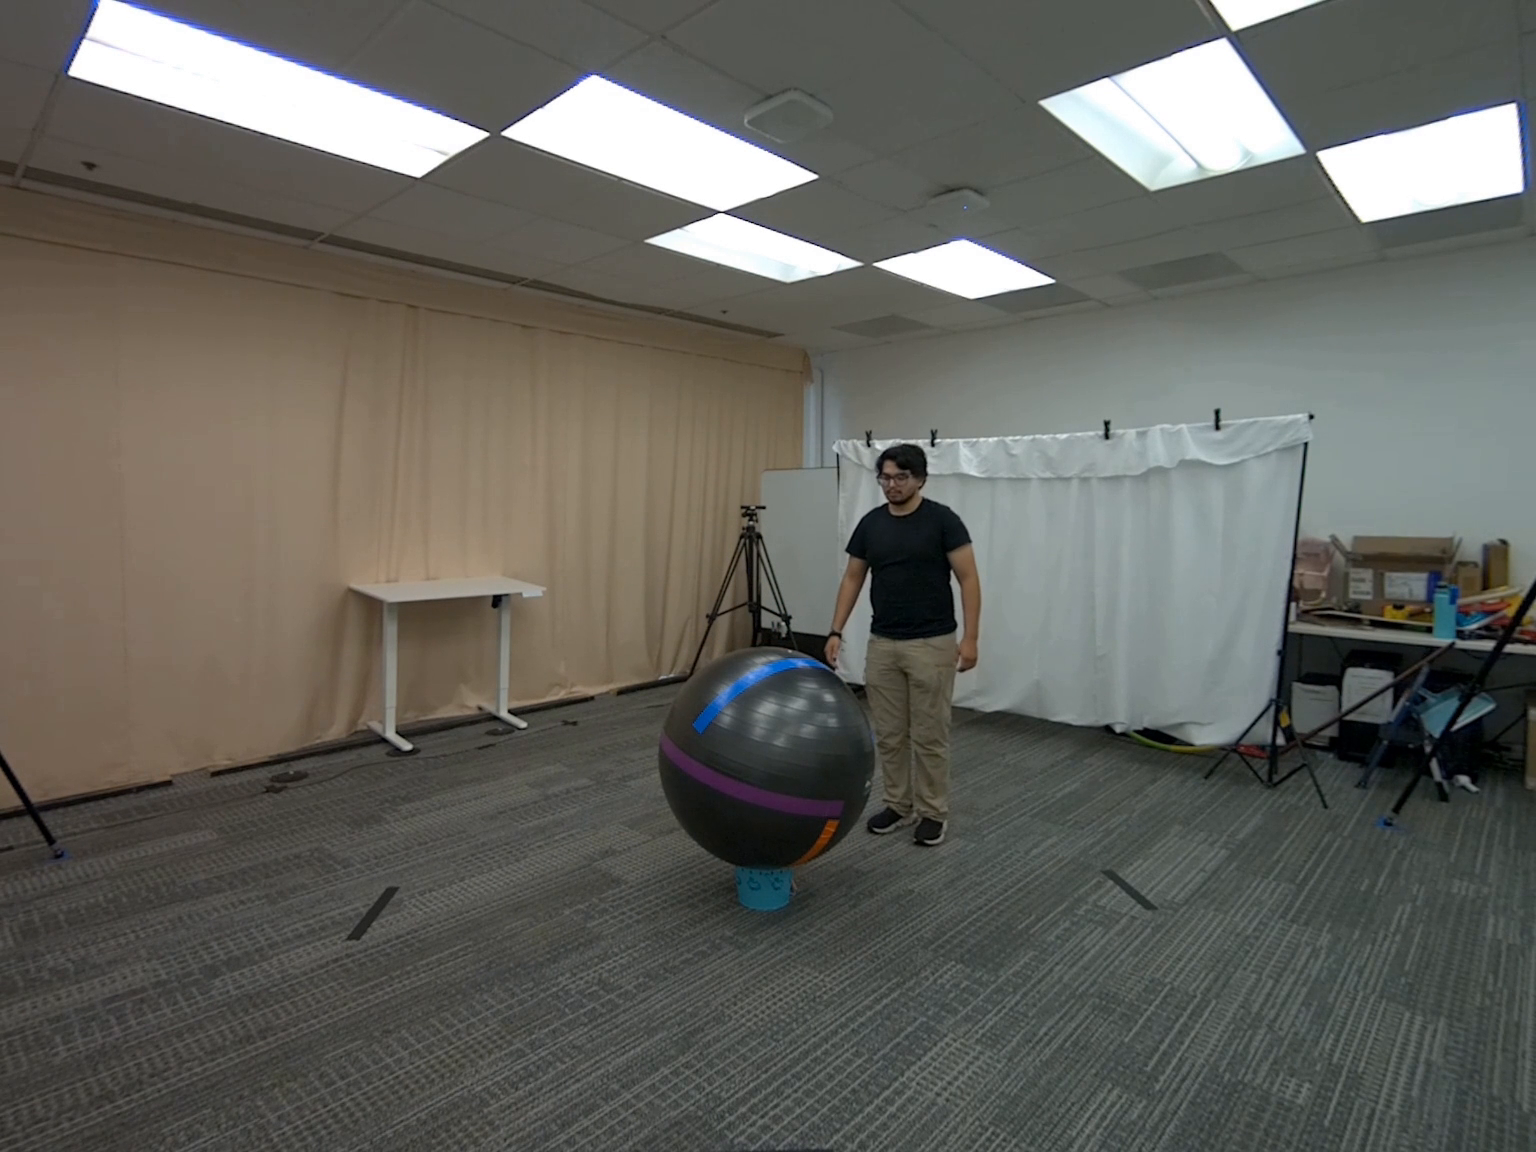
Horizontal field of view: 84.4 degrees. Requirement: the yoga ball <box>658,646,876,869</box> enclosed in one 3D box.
[{"bbox_3d":[0.003,0.634,2.965,0.757,0.756,0.760,0,4,-2],"label":"yoga ball"}]
